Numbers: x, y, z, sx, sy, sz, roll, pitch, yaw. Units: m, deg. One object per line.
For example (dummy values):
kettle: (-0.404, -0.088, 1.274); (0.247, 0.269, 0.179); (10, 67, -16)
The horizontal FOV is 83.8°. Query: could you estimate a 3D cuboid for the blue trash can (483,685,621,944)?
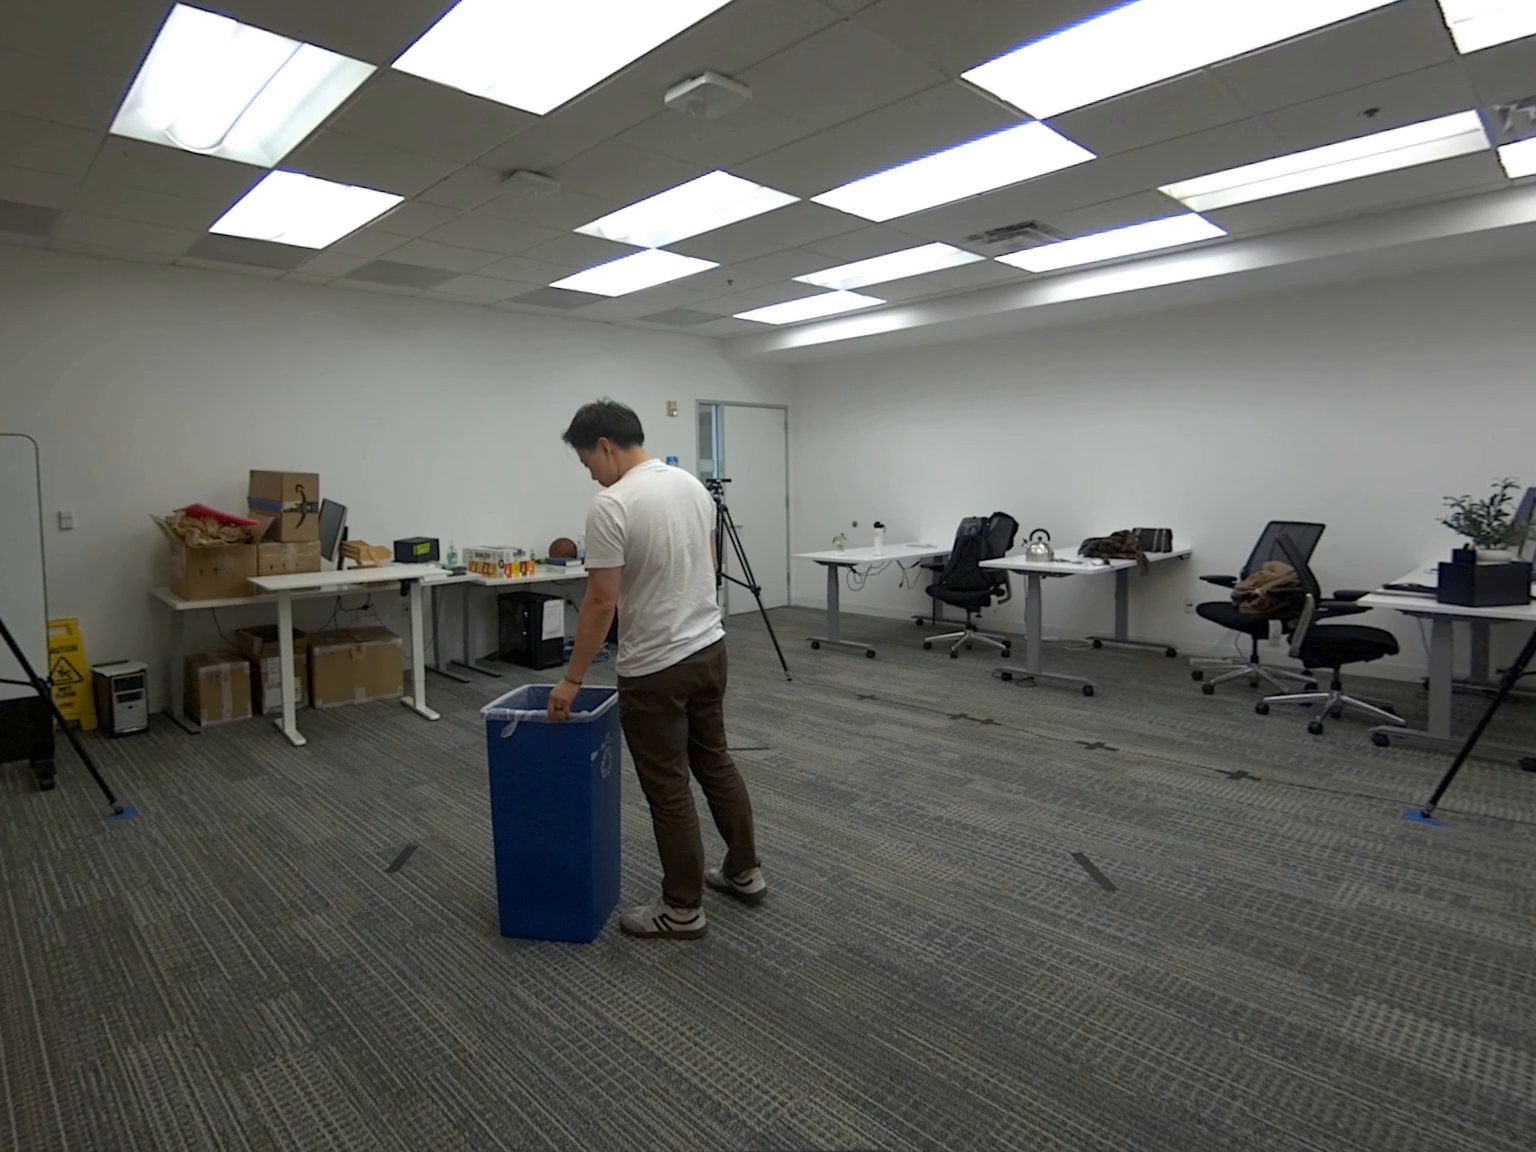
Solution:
blue trash can: (-0.654, 0.742, 2.727); (0.378, 0.711, 0.376); (-1, 4, 9)
